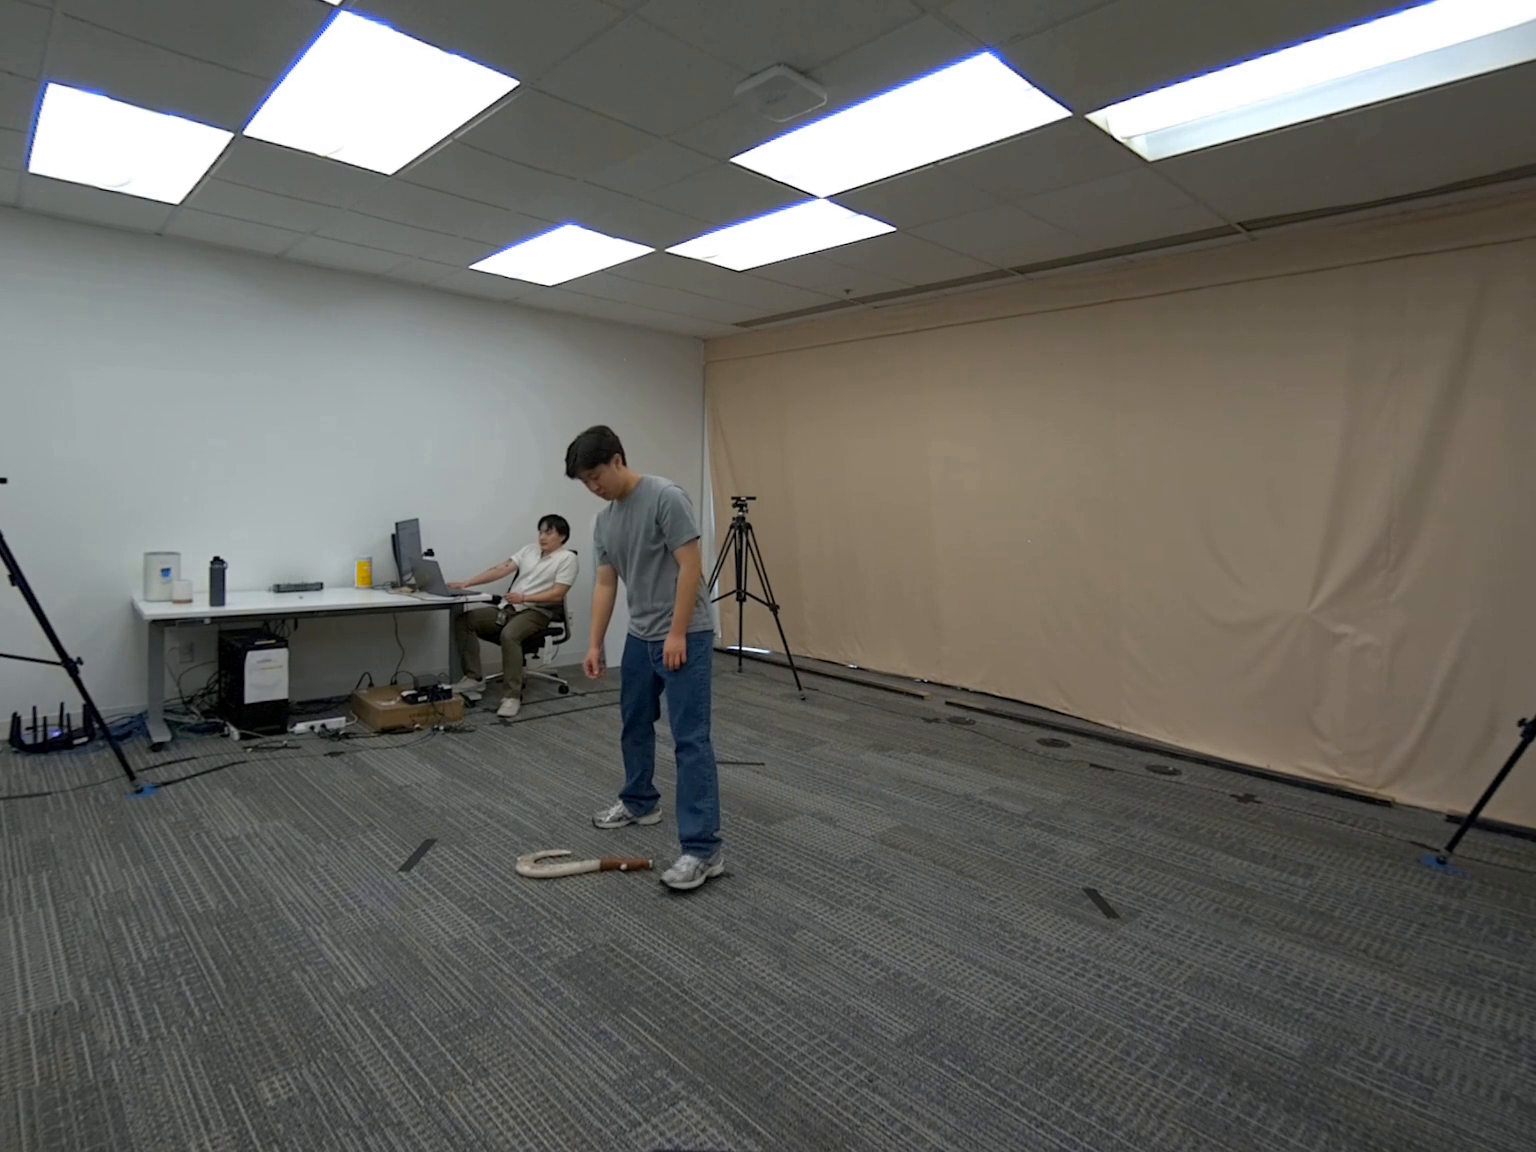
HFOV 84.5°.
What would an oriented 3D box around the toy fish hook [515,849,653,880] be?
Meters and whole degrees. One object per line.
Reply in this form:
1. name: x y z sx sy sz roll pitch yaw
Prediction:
1. toy fish hook: -0.686 1.060 3.157 0.503 0.048 0.227 1 7 -8
